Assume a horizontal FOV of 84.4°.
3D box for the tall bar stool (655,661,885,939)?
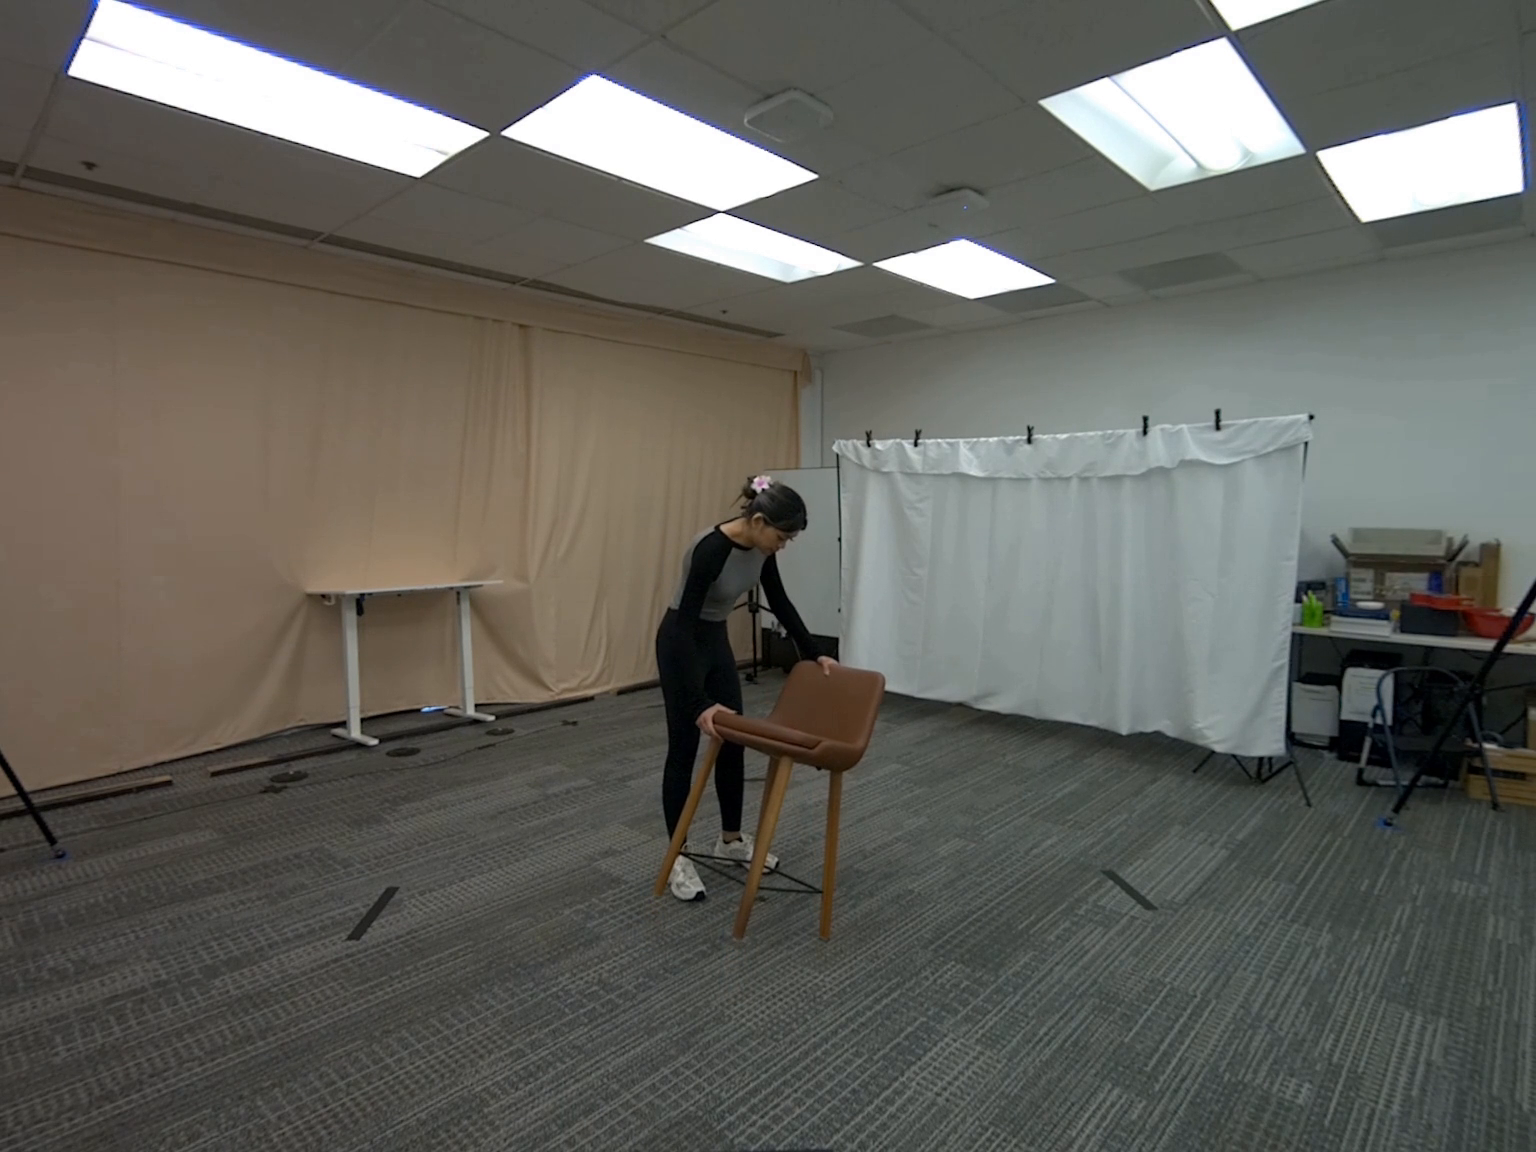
[{"bbox_3d":[0.038,0.682,2.774,0.472,0.893,0.451,3,-16,46],"label":"tall bar stool"}]
